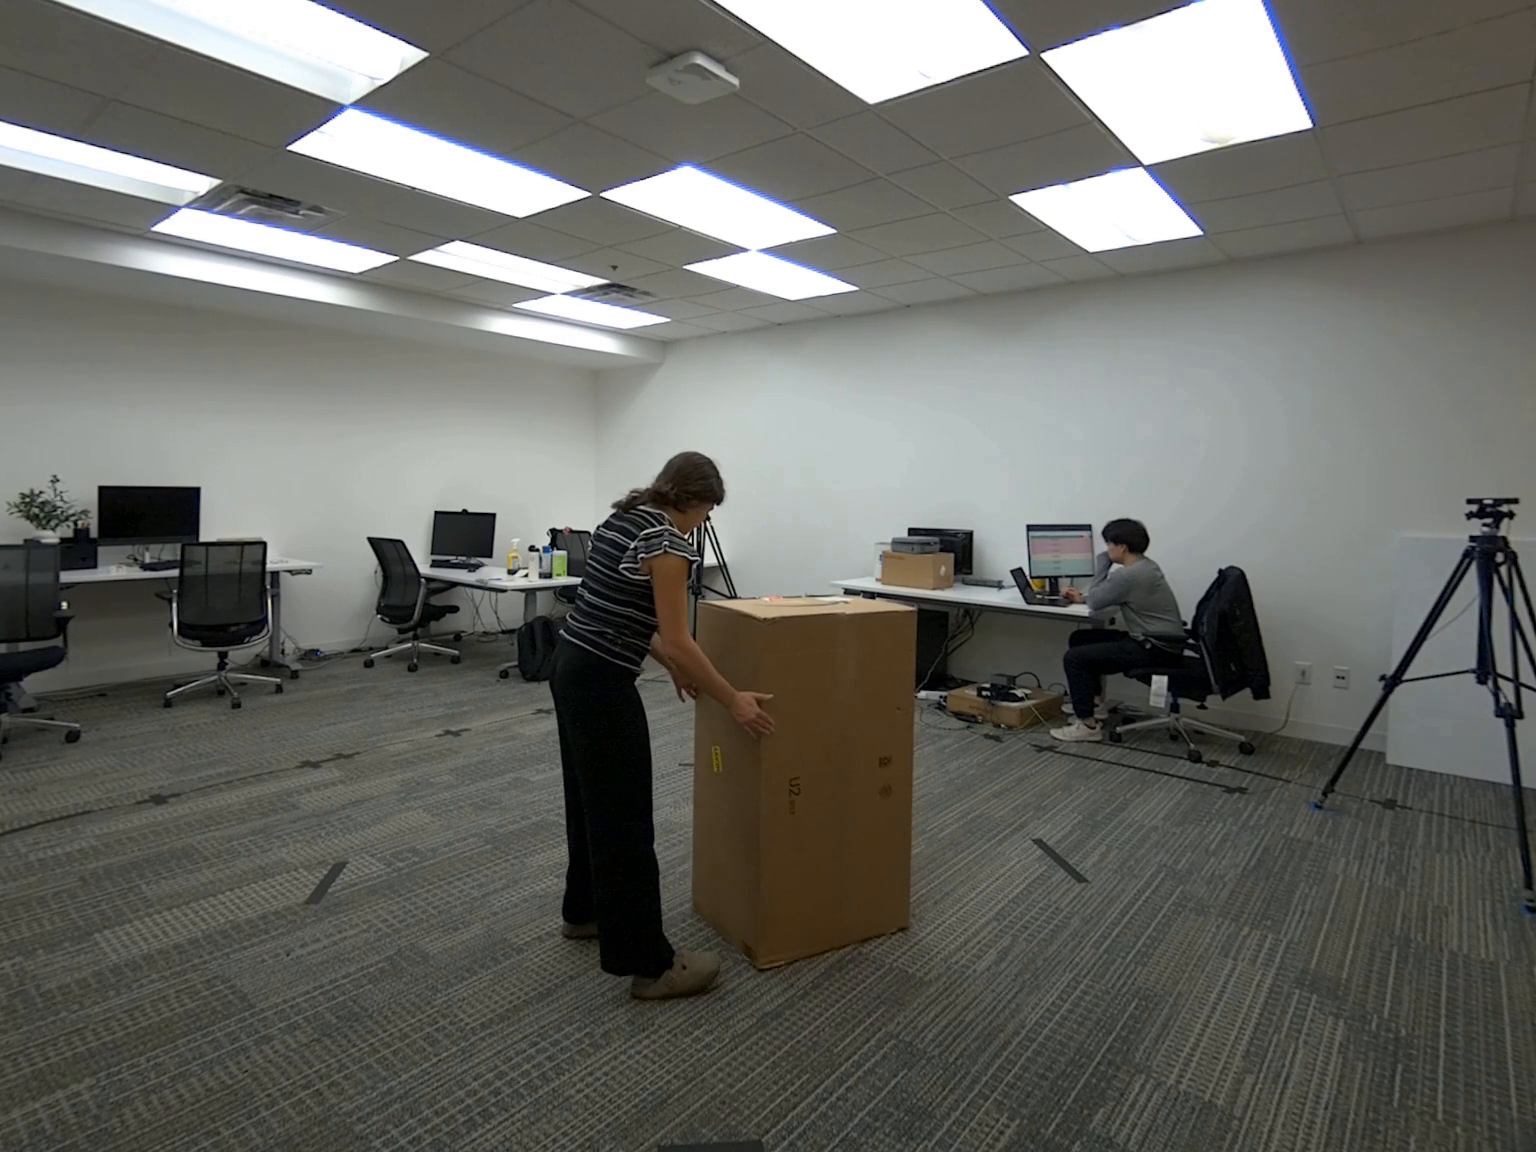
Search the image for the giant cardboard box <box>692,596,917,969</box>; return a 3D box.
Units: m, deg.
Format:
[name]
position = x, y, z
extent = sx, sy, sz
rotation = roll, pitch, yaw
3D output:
[giant cardboard box]
position = 0.107, 0.599, 2.750
extent = 0.561, 1.023, 0.439
rotation = -1, 3, -32
